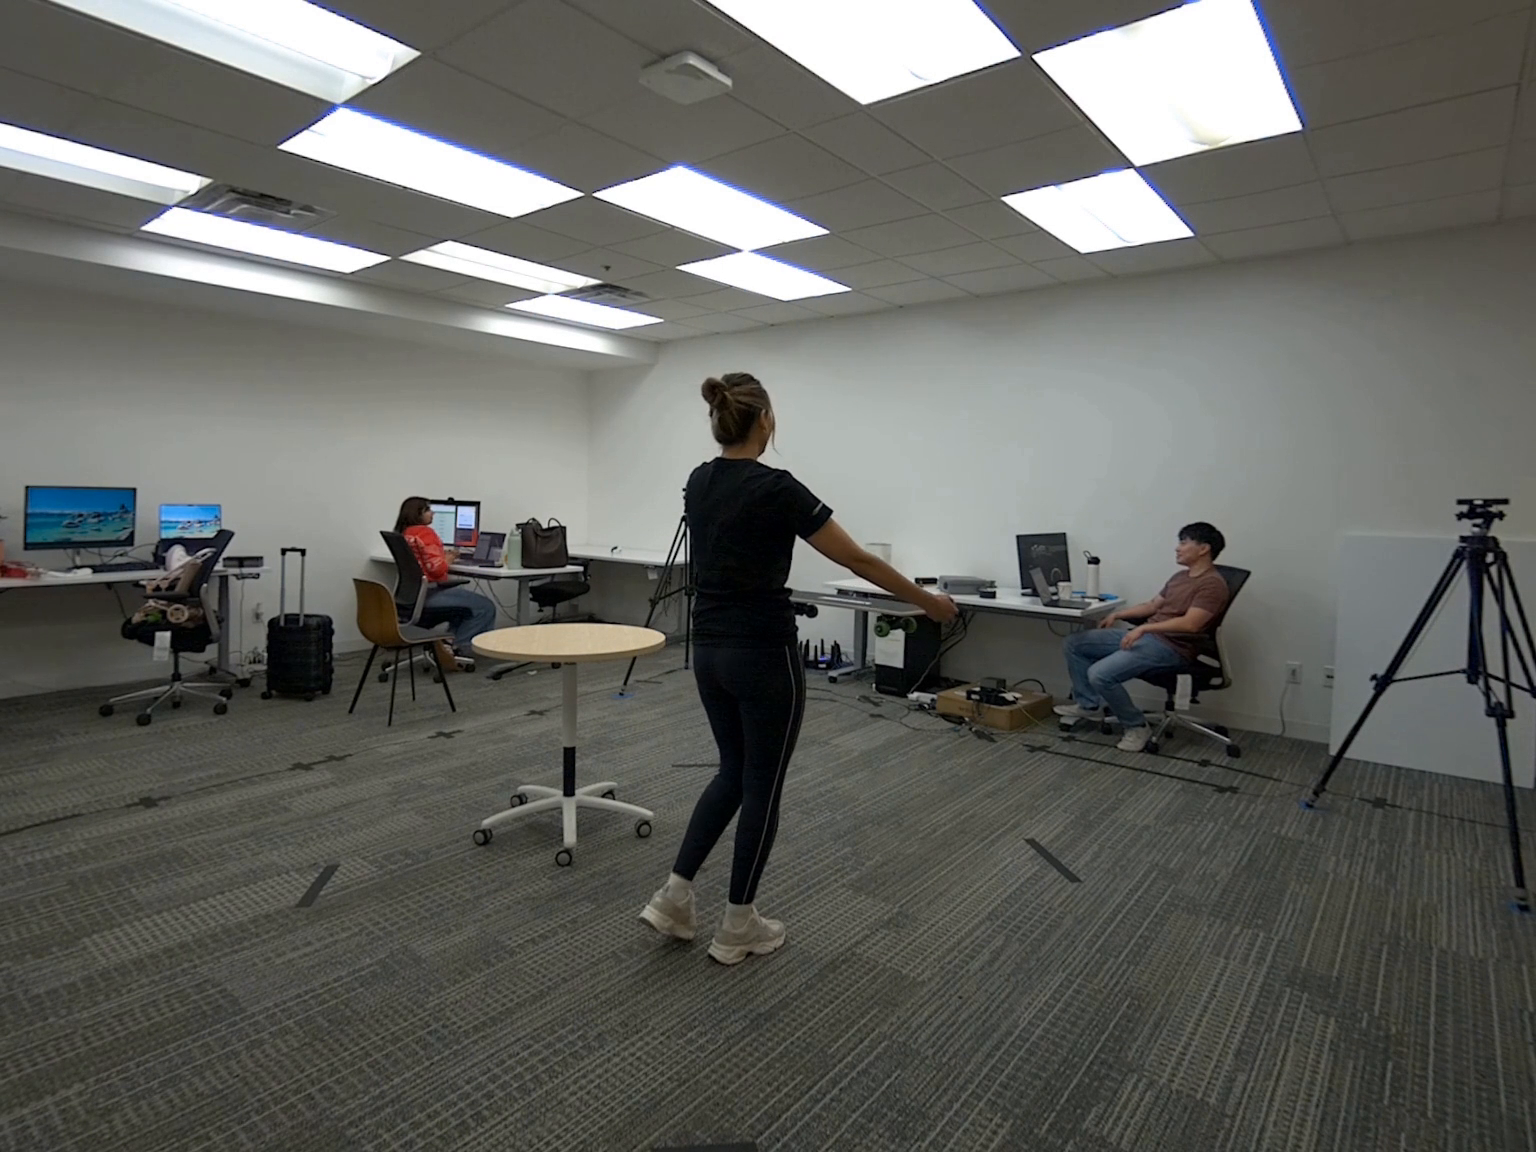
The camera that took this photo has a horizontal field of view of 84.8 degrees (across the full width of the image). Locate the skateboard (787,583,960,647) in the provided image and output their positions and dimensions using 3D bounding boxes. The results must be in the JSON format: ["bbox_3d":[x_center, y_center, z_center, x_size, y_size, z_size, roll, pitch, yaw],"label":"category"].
[{"bbox_3d":[0.235,0.112,2.827,0.813,0.110,0.188,6,7,43],"label":"skateboard"}]
